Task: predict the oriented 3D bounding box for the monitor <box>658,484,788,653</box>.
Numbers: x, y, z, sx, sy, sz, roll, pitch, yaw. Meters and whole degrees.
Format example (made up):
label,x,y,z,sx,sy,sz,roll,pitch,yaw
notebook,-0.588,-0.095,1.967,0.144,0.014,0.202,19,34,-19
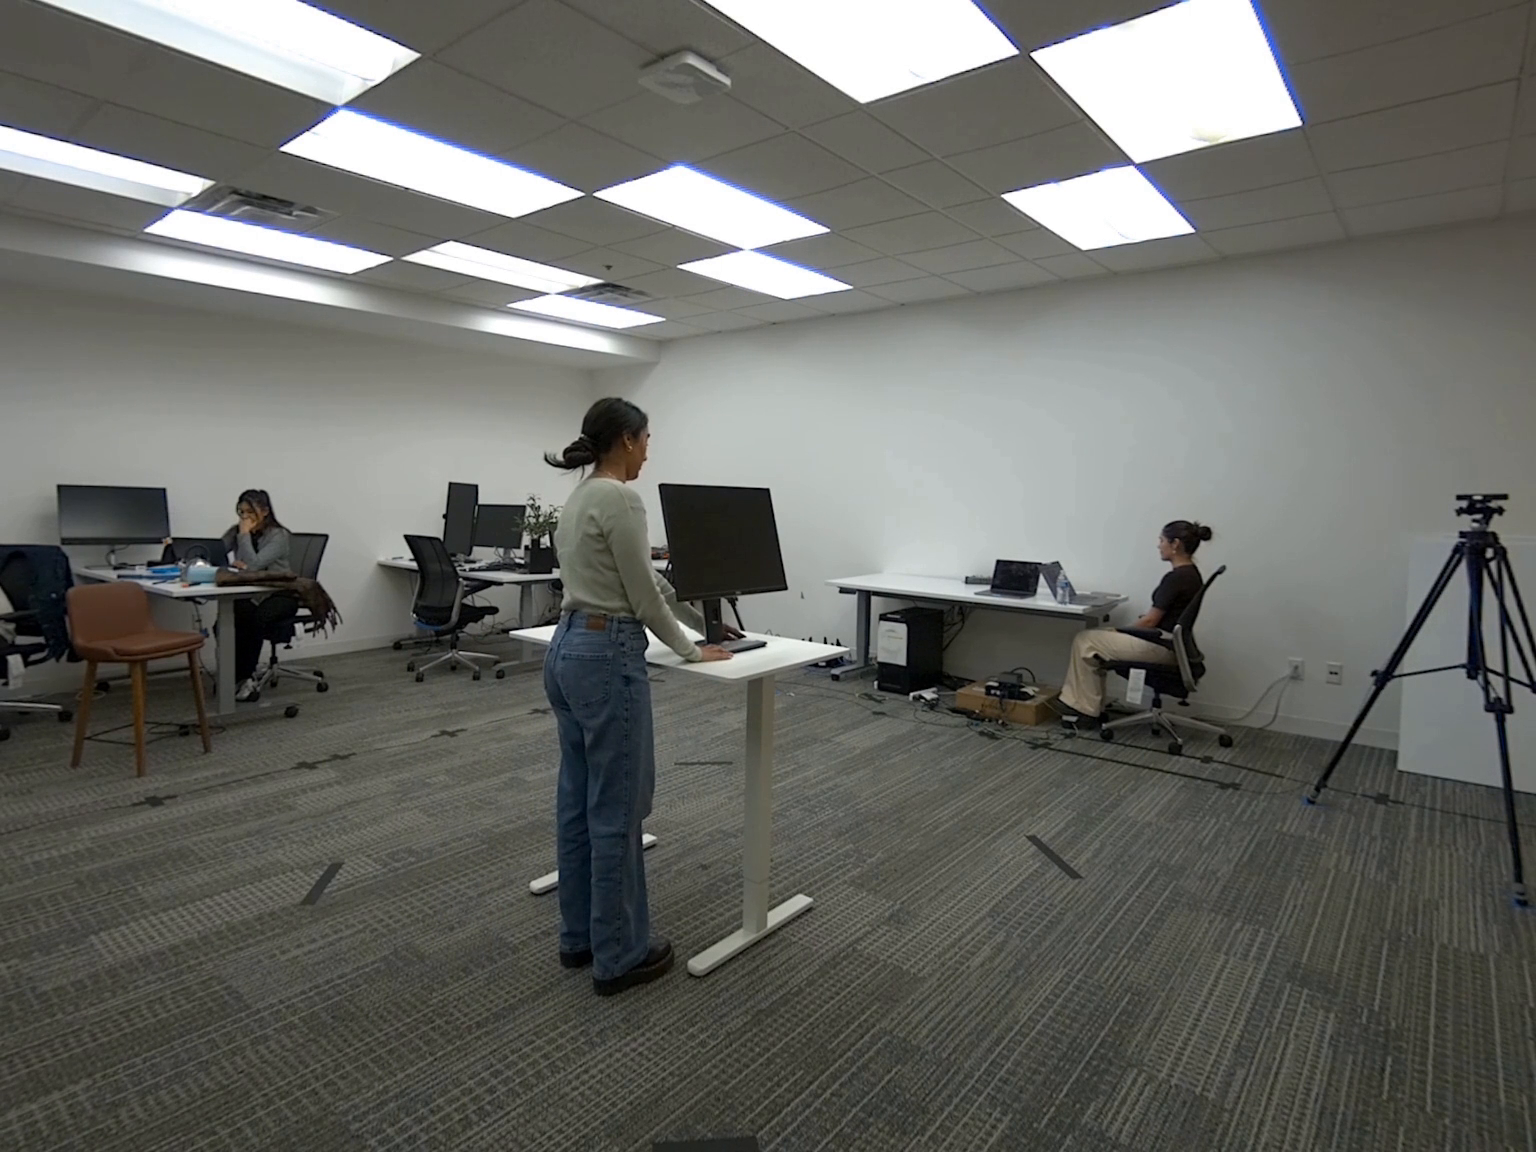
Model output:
label,x,y,z,sx,sy,sz,roll,pitch,yaw
monitor,-0.155,-0.030,2.686,0.181,0.514,0.514,7,6,37
